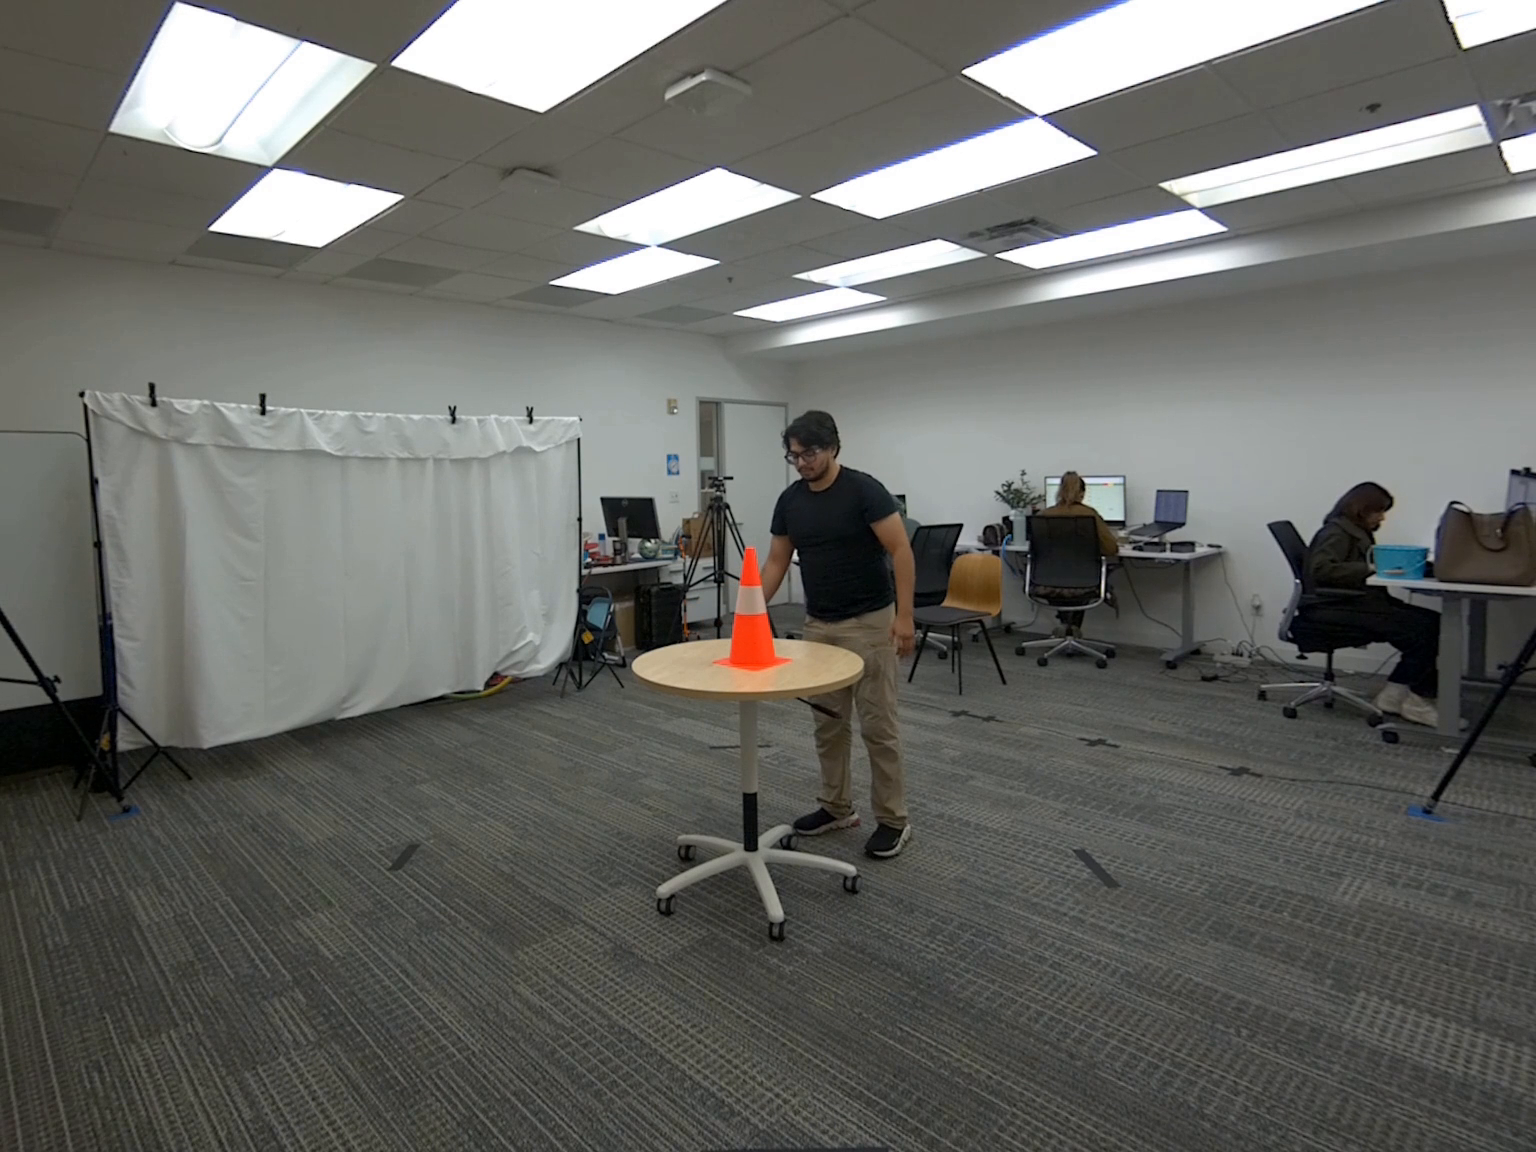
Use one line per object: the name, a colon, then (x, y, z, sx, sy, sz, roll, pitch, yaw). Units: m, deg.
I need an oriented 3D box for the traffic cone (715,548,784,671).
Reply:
traffic cone: (-0.057, 0.101, 2.817, 0.209, 0.382, 0.200, 2, 7, 39)
